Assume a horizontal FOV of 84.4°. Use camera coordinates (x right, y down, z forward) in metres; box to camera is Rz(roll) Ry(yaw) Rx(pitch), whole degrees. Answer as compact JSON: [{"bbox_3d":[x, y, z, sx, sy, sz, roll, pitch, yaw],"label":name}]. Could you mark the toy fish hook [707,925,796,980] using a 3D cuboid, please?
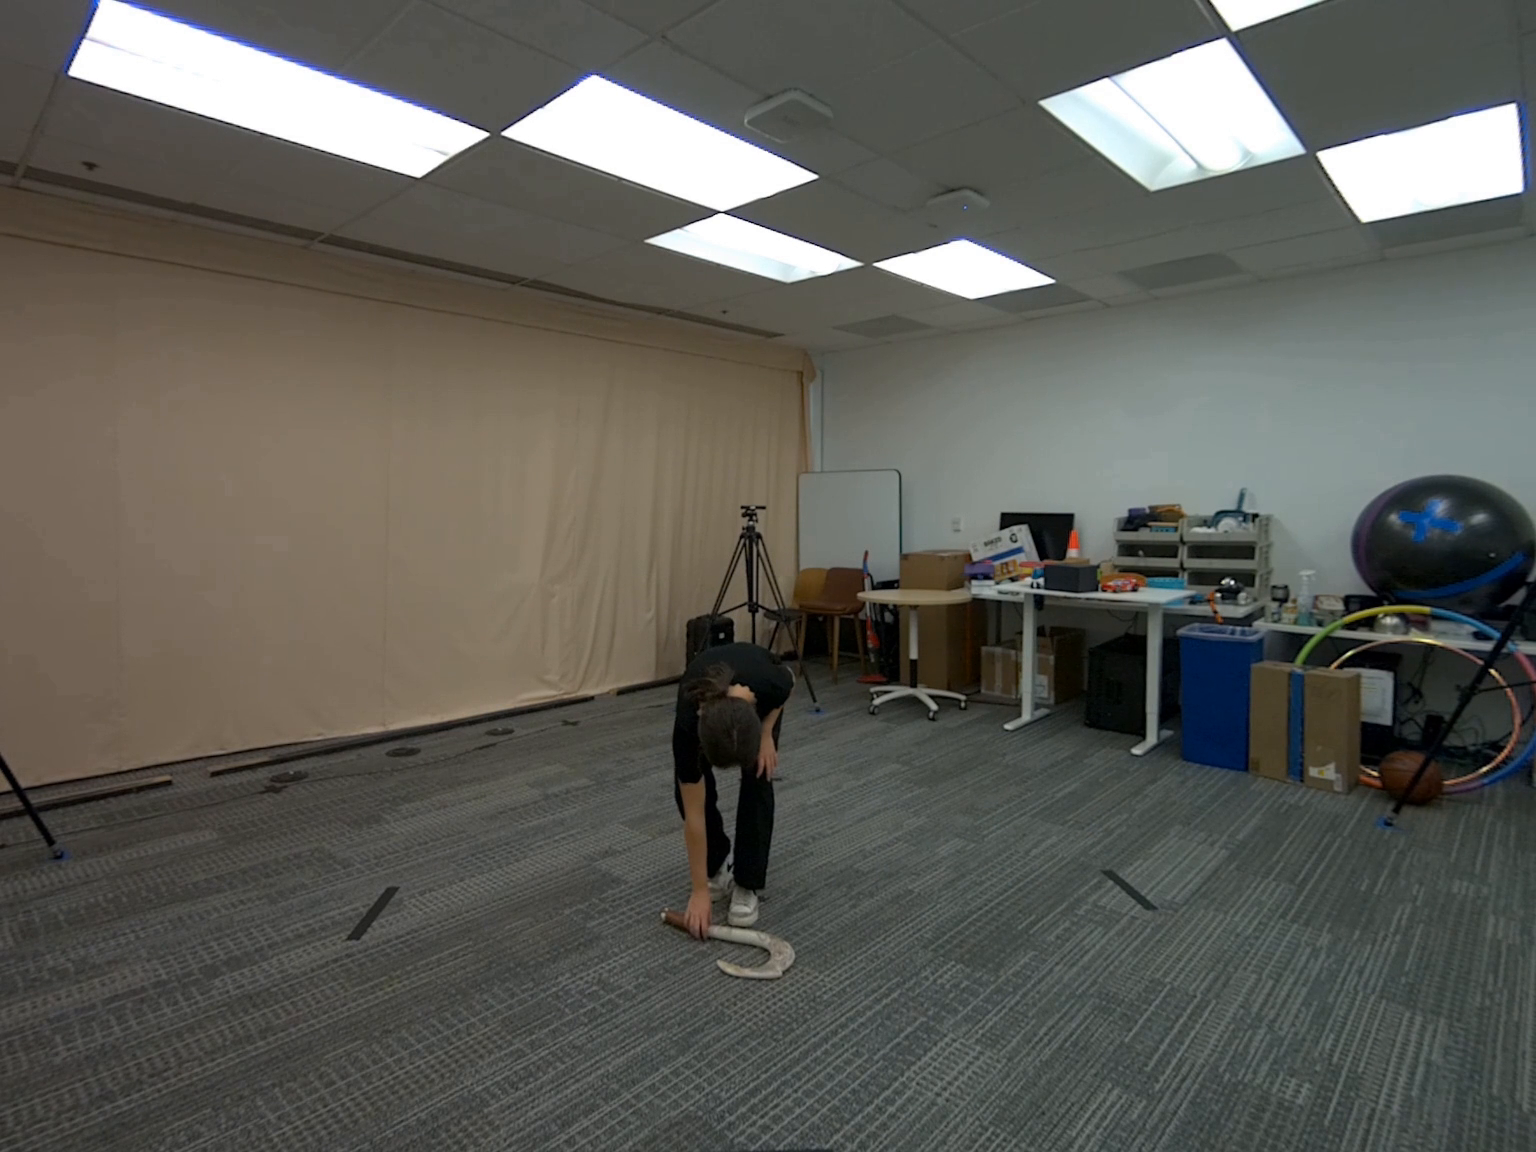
[{"bbox_3d":[-0.161,1.148,2.645,0.521,0.048,0.218,2,4,31],"label":"toy fish hook"}]
